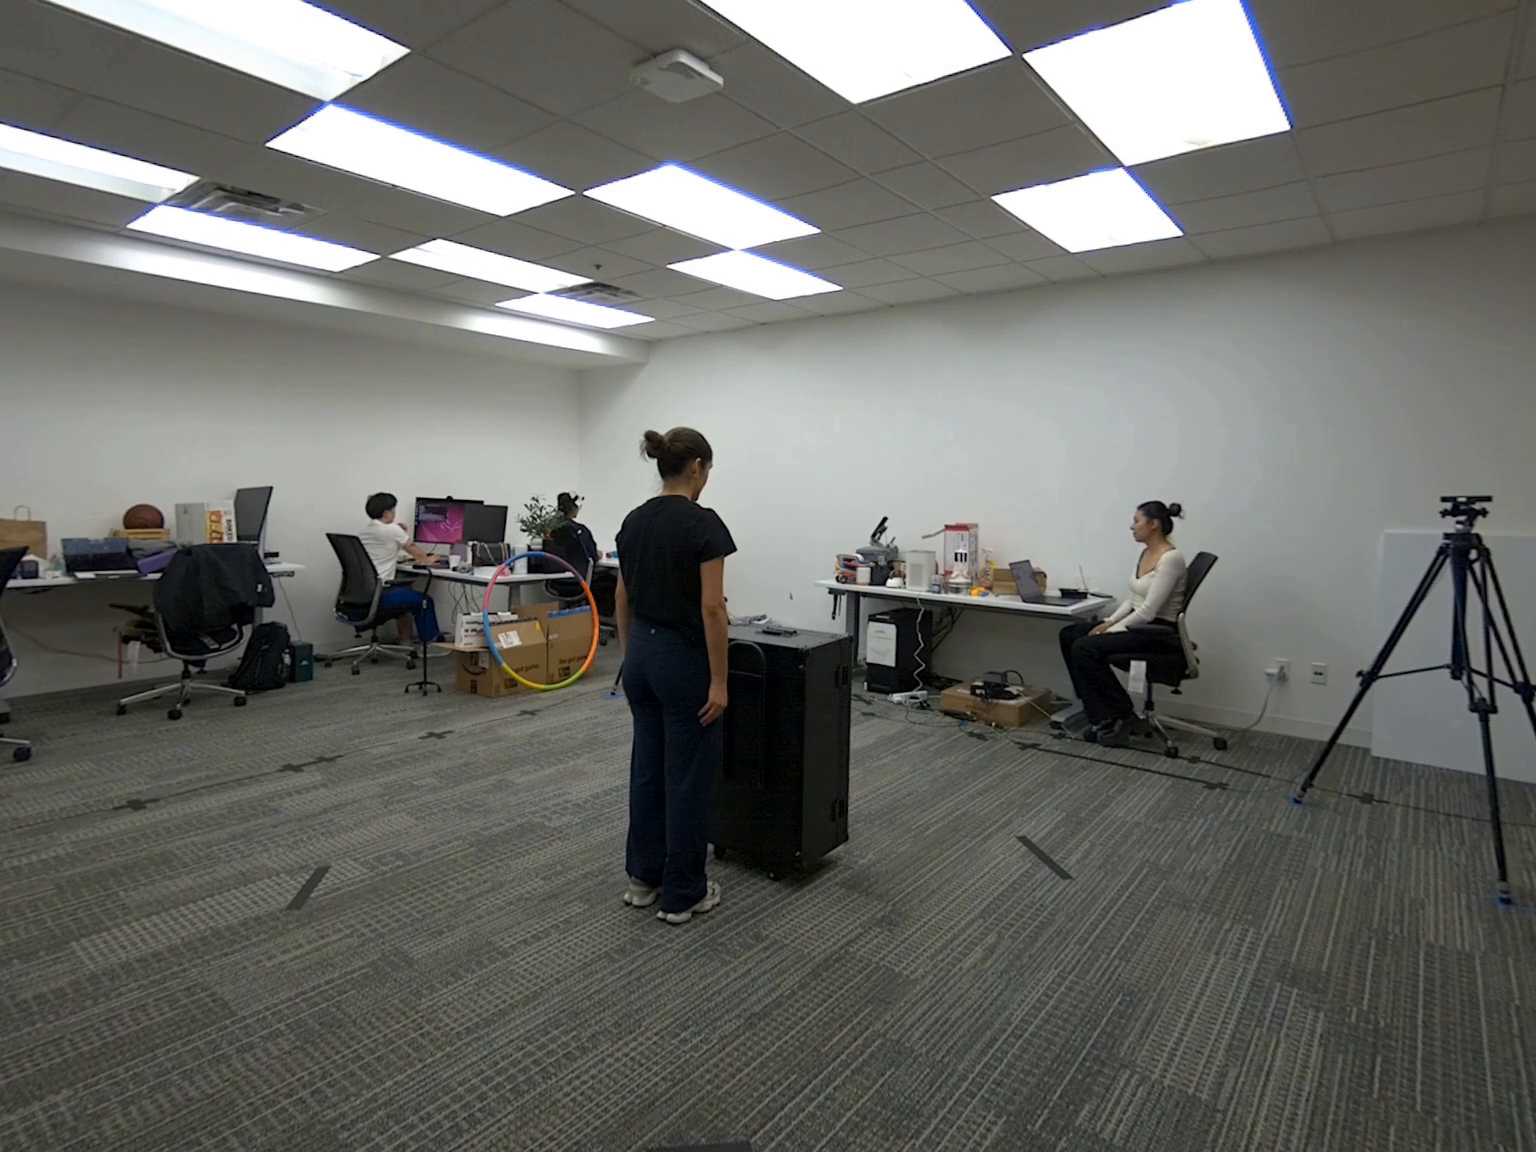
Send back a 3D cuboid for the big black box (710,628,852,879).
[{"bbox_3d":[0.032,0.636,3.205,0.538,0.859,0.385,3,3,35],"label":"big black box"}]
